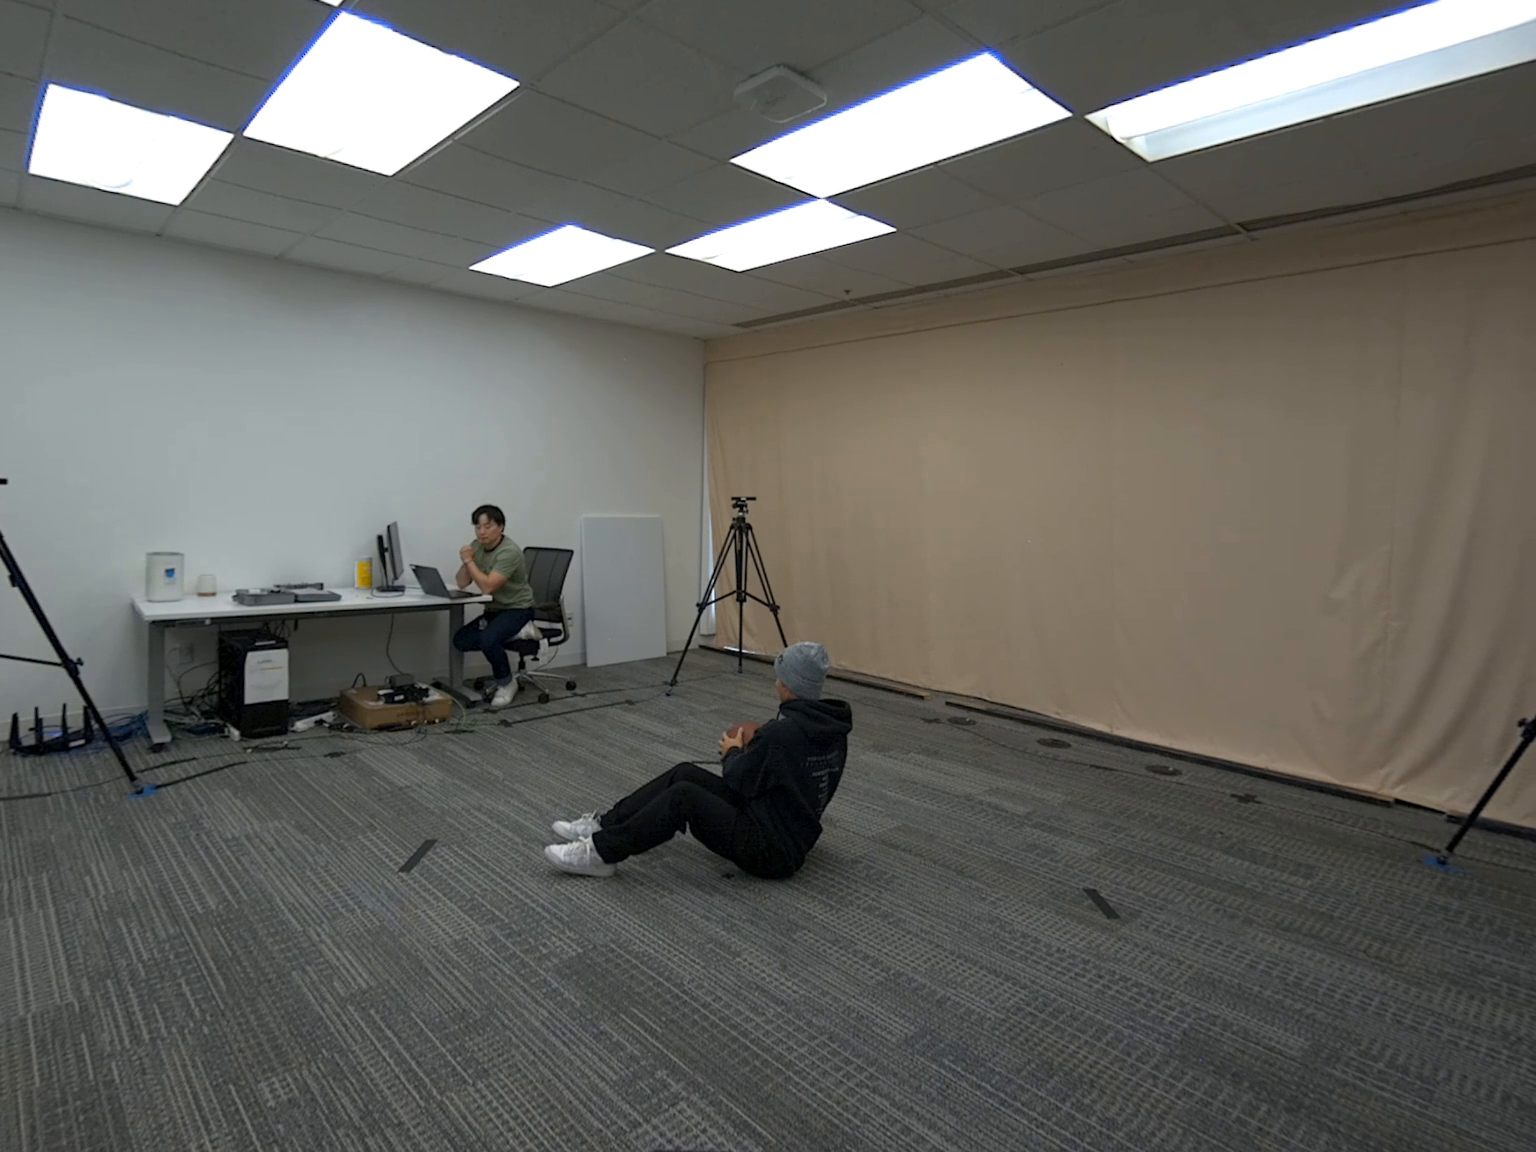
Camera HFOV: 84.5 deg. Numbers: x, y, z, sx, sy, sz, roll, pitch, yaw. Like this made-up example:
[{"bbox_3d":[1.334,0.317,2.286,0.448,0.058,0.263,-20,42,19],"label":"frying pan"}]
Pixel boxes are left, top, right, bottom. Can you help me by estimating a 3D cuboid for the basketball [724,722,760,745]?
[{"bbox_3d":[-0.093,0.737,3.559,0.236,0.235,0.237,1,4,-1],"label":"basketball"}]
